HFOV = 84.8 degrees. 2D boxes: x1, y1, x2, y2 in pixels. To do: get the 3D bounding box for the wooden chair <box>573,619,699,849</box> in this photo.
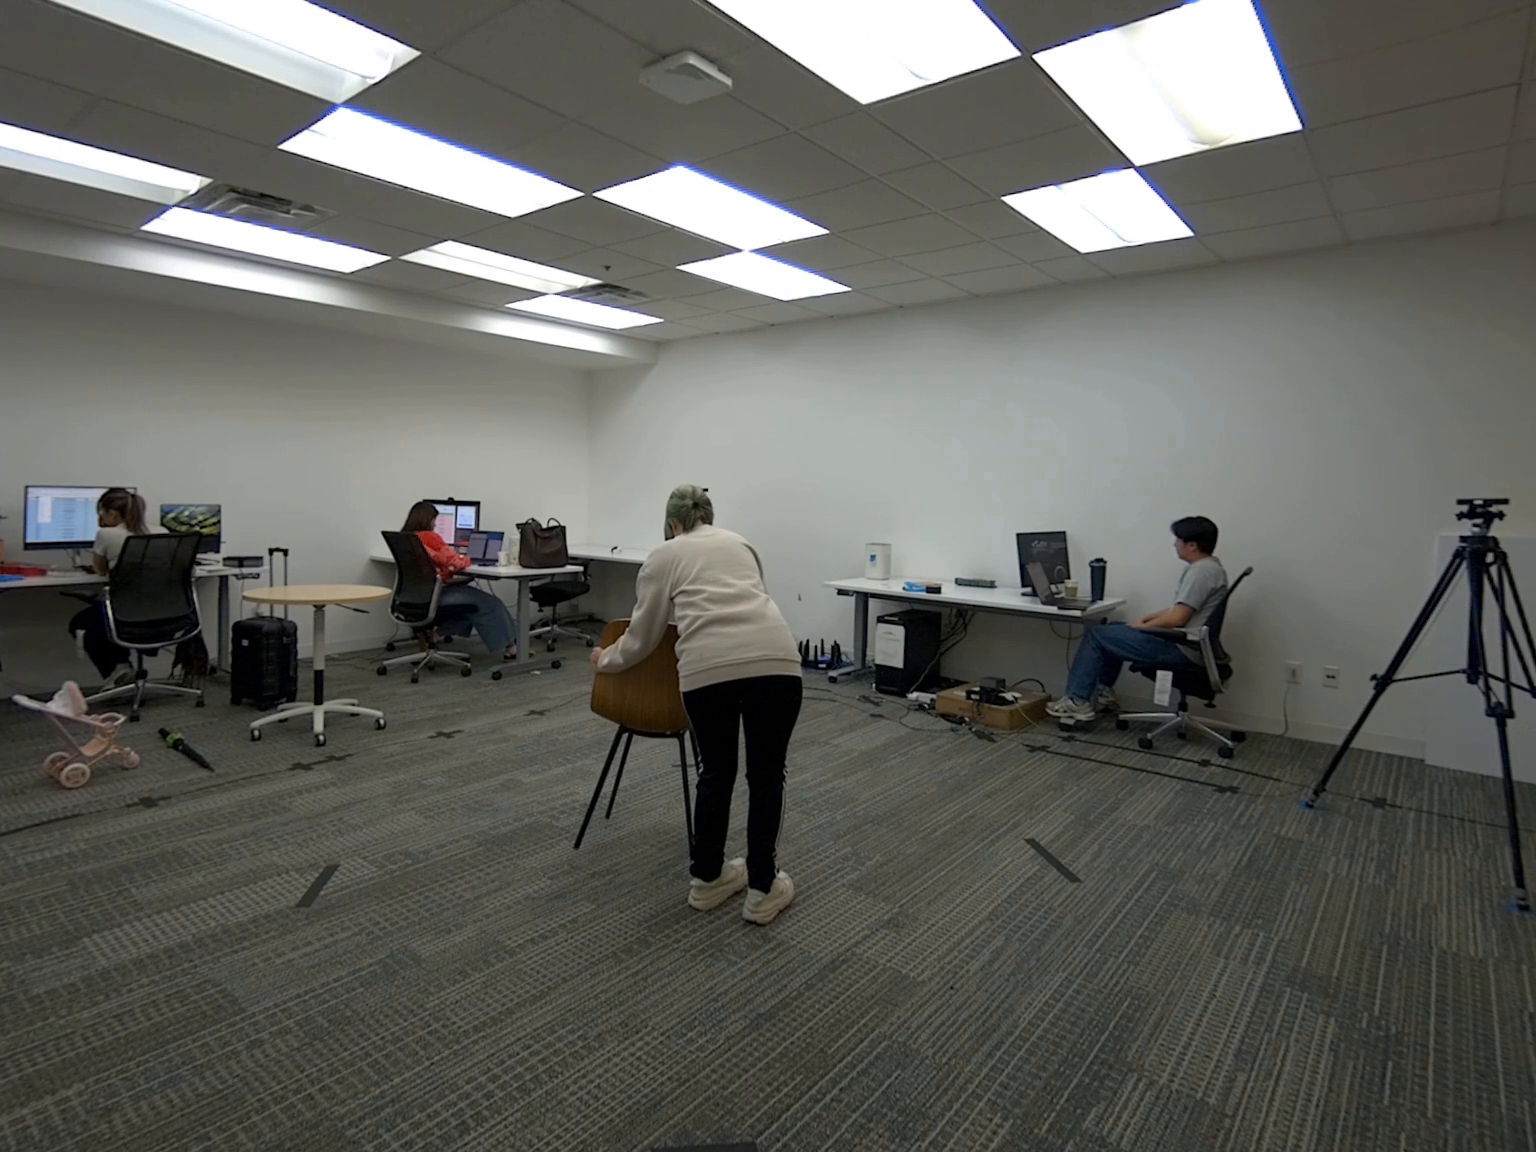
[{"bbox_3d":[-0.447,0.586,3.303,0.482,0.877,0.519,3,1,7],"label":"wooden chair"}]
